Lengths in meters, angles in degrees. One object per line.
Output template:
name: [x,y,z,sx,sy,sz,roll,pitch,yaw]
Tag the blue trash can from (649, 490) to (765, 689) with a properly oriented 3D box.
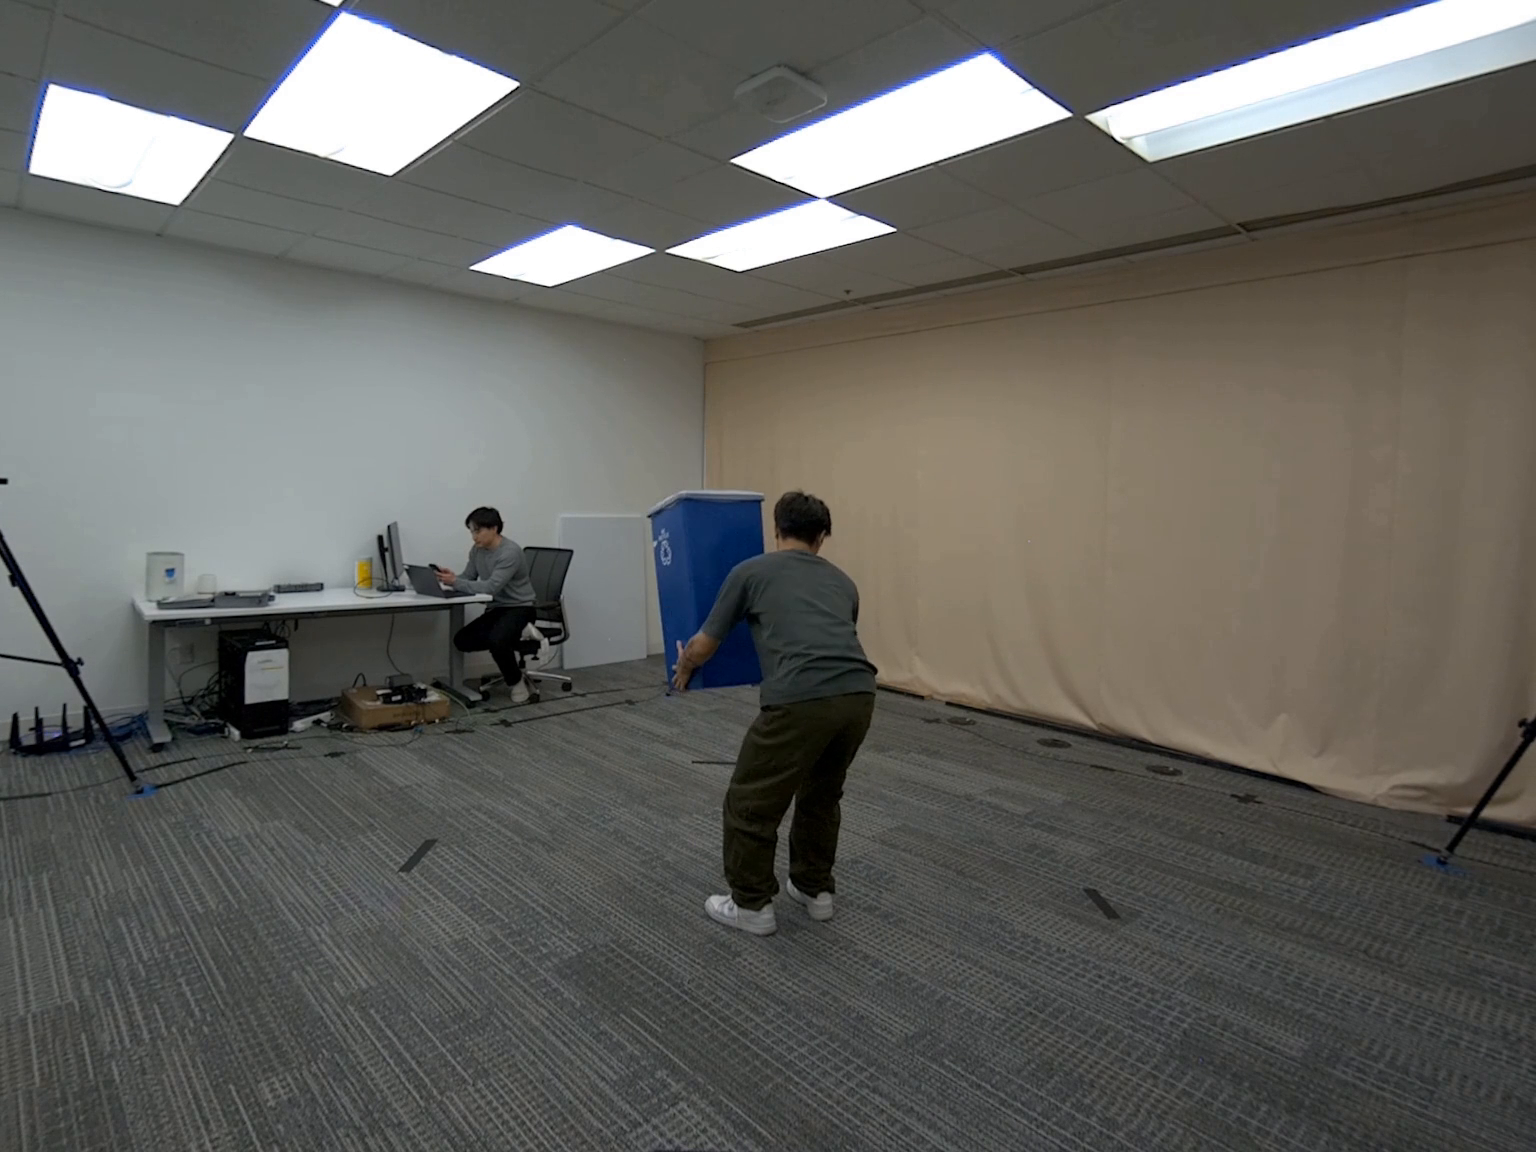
blue trash can: [-0.227,0.058,3.237,0.366,0.719,0.383,0,-10,-30]
